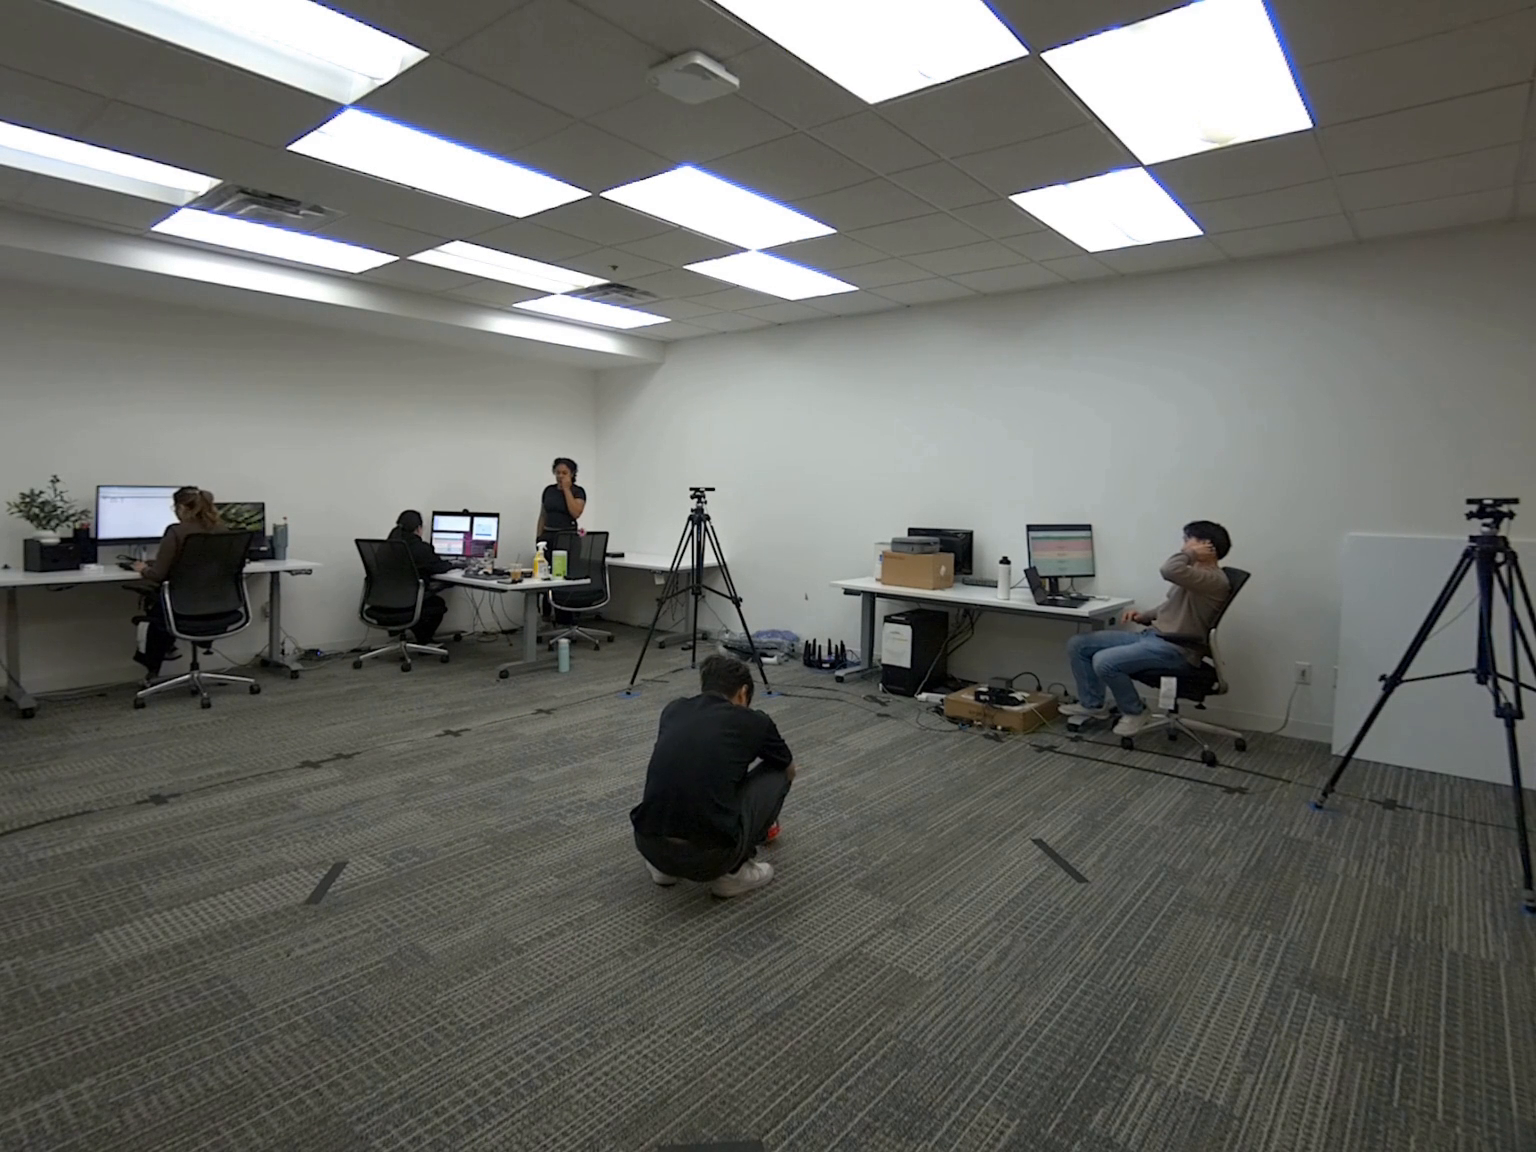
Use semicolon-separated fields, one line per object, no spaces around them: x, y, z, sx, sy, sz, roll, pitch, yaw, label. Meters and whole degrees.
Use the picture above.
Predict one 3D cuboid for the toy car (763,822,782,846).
-0.083;1.001;3.390;0.261;0.083;0.127;-3;-2;26;toy car
